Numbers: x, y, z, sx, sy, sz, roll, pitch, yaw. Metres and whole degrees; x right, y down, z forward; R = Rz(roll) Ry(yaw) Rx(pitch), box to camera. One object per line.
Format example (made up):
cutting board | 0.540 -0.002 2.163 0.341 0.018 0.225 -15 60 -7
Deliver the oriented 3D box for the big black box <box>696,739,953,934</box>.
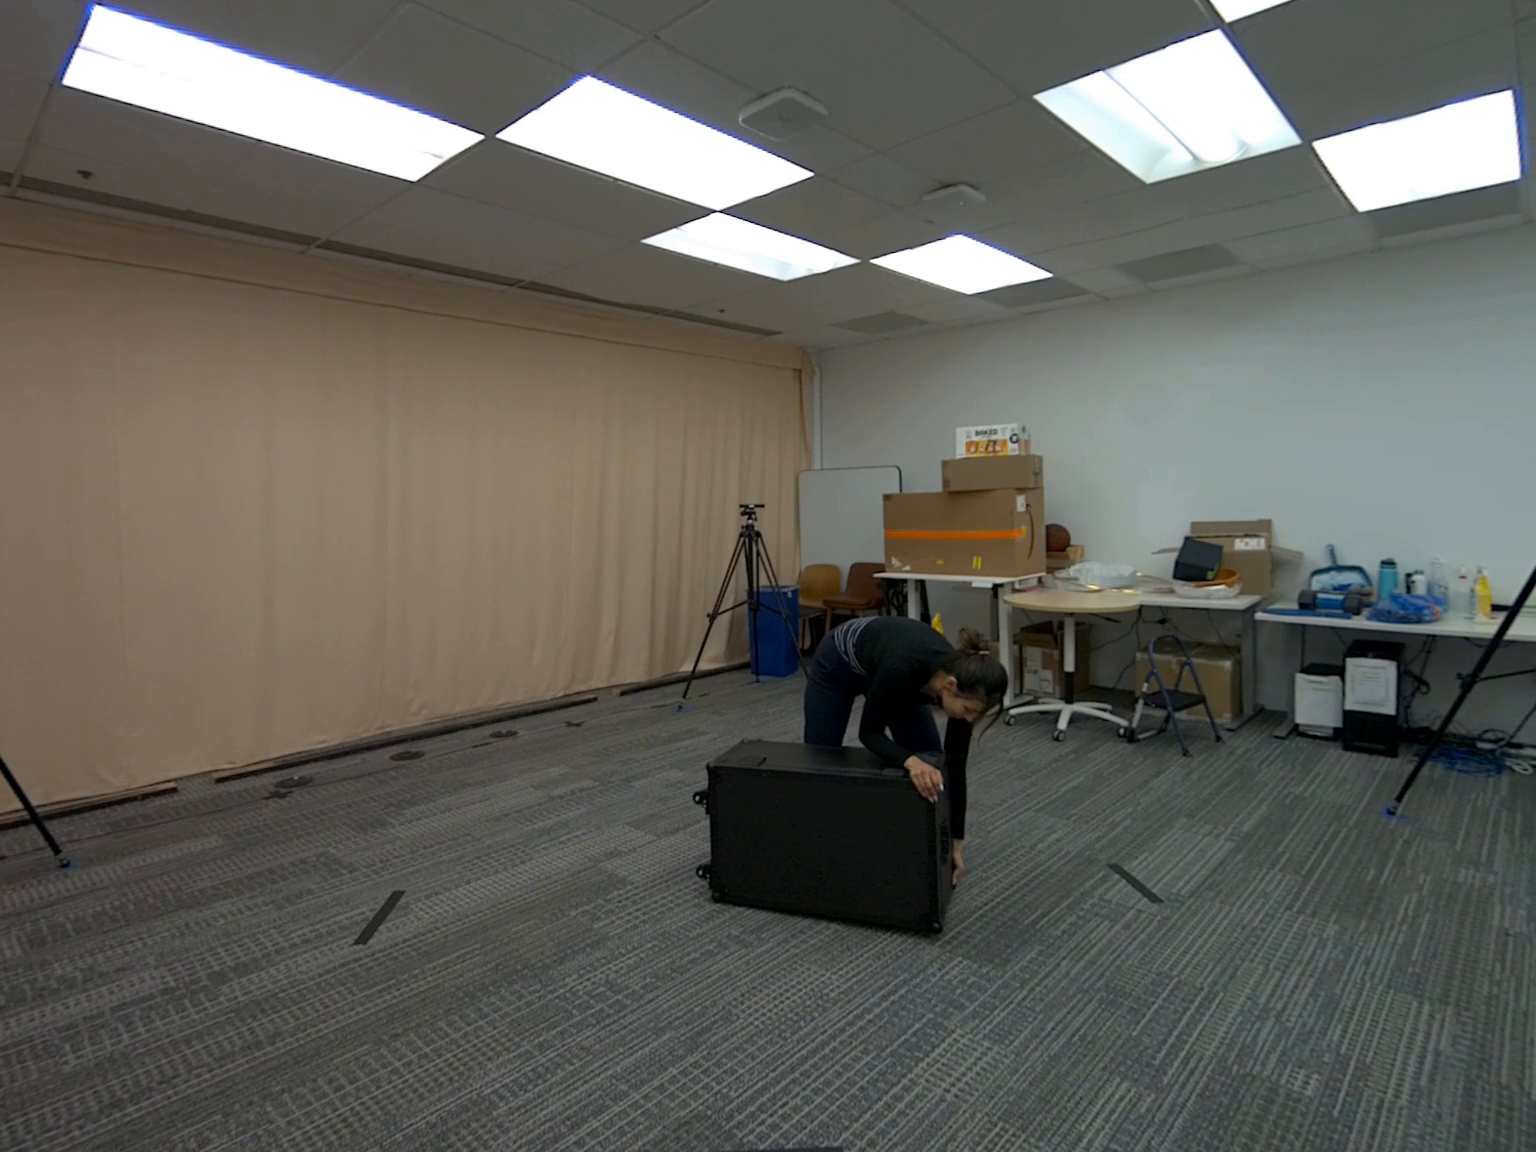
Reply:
big black box | 0.195 0.874 2.974 0.881 0.520 0.388 0 3 22
